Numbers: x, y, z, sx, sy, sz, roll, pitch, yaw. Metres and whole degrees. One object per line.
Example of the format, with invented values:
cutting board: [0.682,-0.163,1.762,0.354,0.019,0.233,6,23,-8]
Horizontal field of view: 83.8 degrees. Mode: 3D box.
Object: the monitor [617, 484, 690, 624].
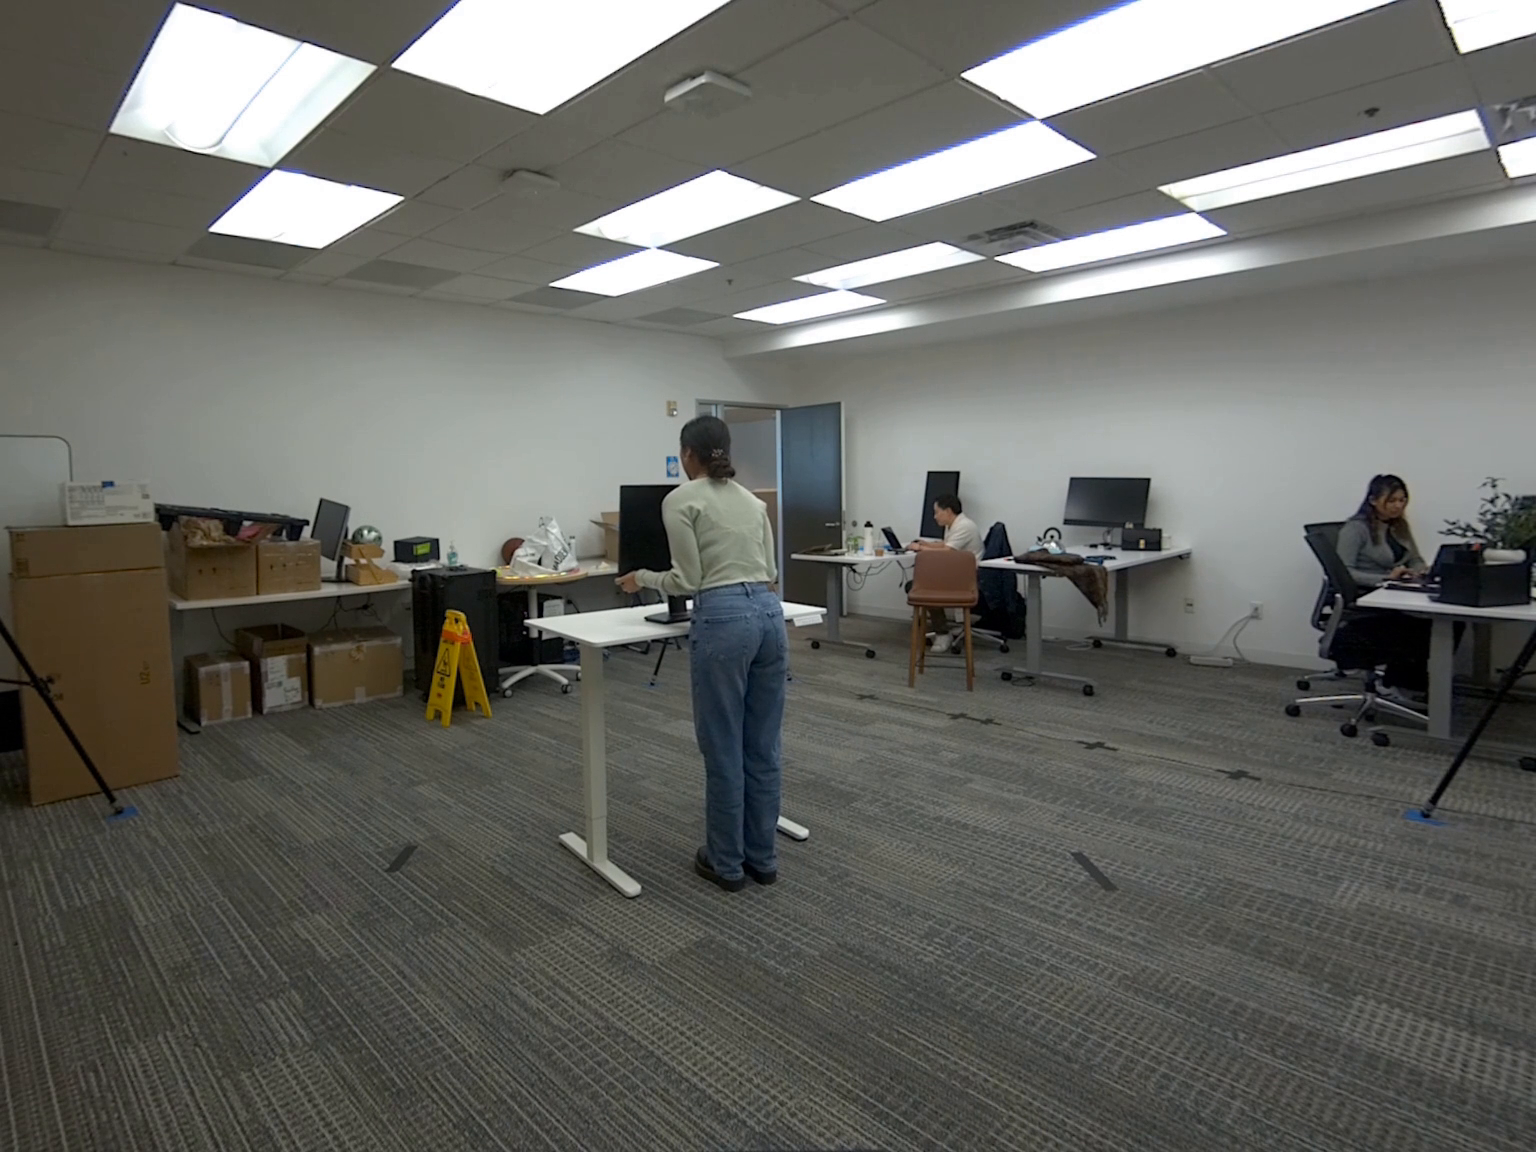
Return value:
monitor: [-0.318,-0.084,3.180,0.525,0.518,0.194,-5,13,-42]
